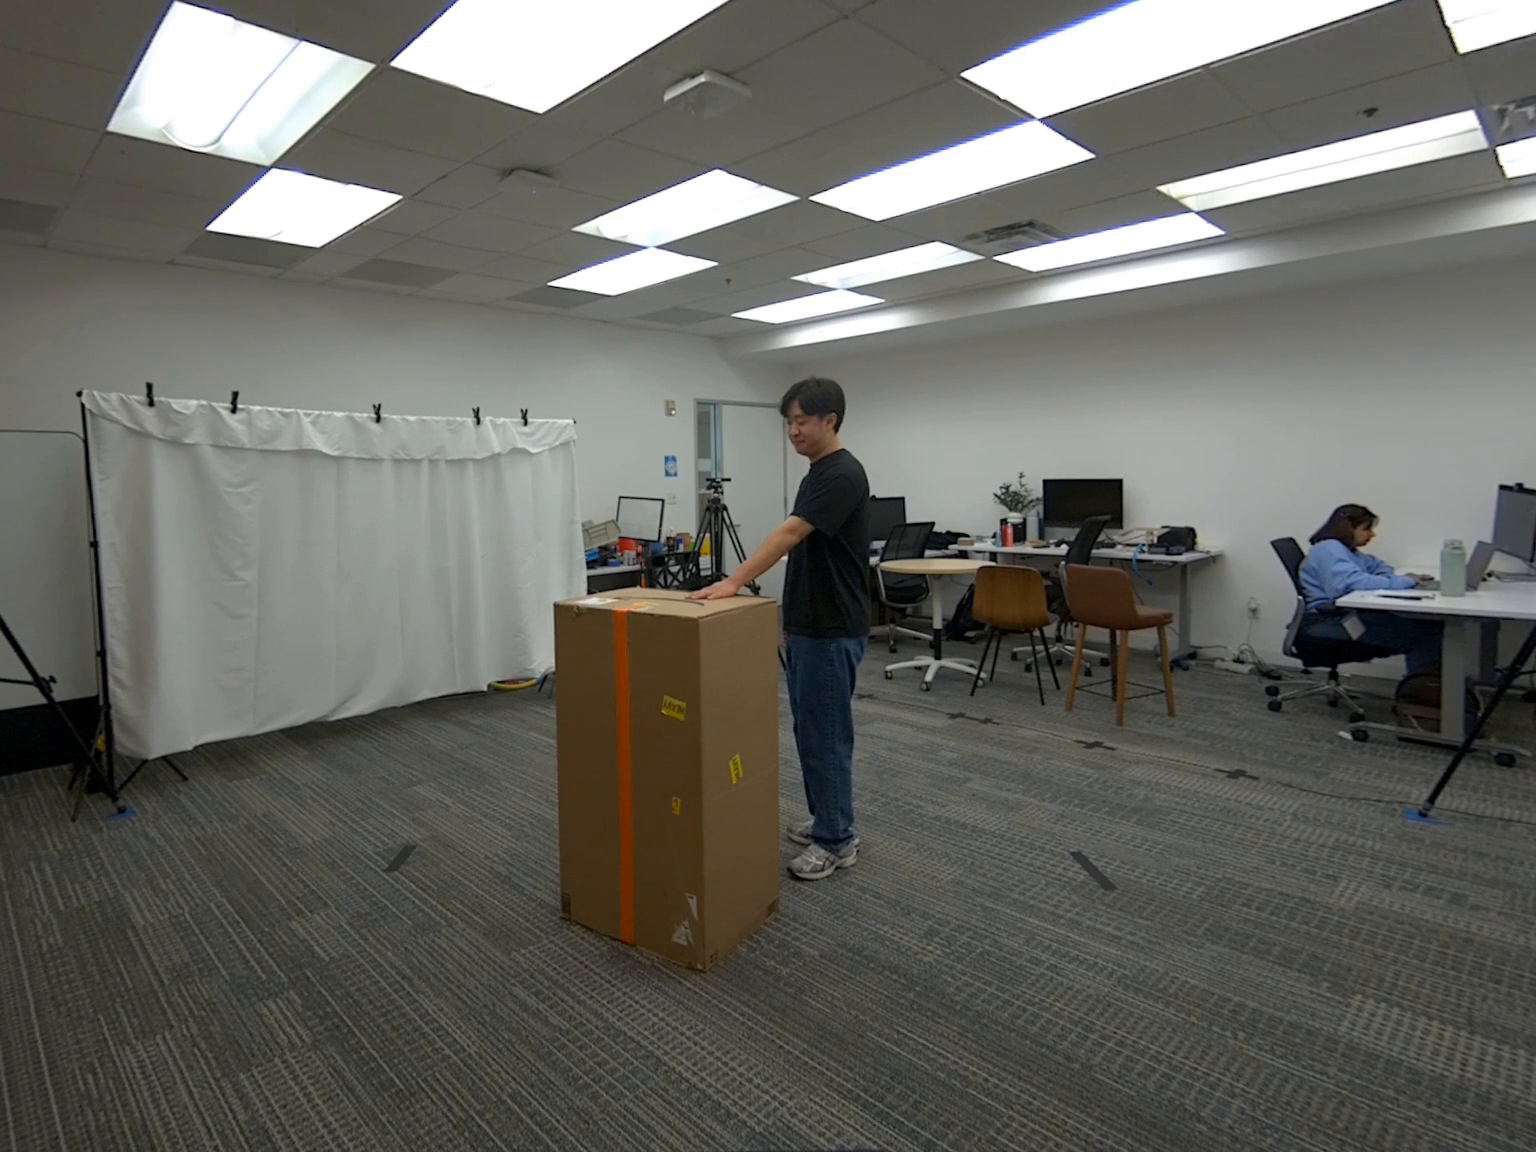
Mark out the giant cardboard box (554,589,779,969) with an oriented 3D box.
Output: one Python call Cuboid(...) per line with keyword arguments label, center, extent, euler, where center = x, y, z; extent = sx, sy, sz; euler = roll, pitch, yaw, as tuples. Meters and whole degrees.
Cuboid(label="giant cardboard box", center=(-0.317, 0.579, 2.715), extent=(0.601, 1.023, 0.436), euler=(2, 6, 35))
